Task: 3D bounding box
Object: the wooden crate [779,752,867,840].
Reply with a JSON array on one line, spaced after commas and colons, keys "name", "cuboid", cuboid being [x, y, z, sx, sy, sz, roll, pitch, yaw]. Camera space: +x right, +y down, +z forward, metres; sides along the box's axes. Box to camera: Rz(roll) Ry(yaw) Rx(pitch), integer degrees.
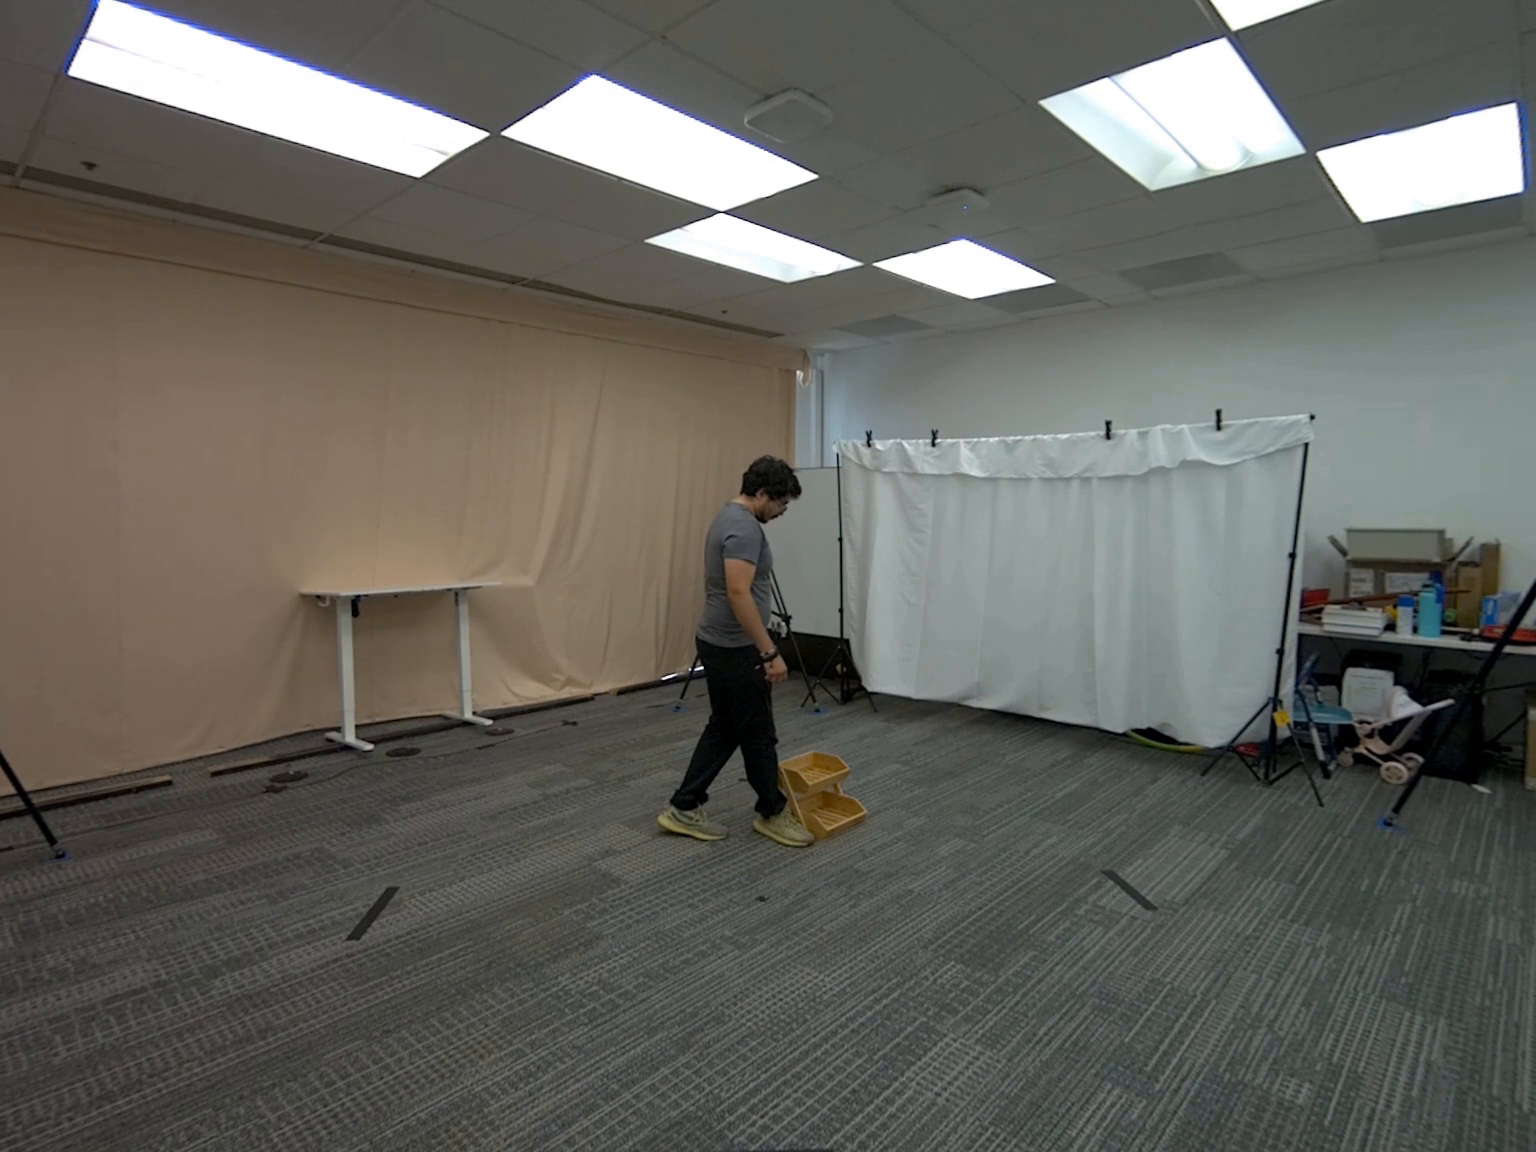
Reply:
[{"name": "wooden crate", "cuboid": [0.231, 0.951, 3.694, 0.312, 0.273, 0.314, 2, 5, 42]}]
